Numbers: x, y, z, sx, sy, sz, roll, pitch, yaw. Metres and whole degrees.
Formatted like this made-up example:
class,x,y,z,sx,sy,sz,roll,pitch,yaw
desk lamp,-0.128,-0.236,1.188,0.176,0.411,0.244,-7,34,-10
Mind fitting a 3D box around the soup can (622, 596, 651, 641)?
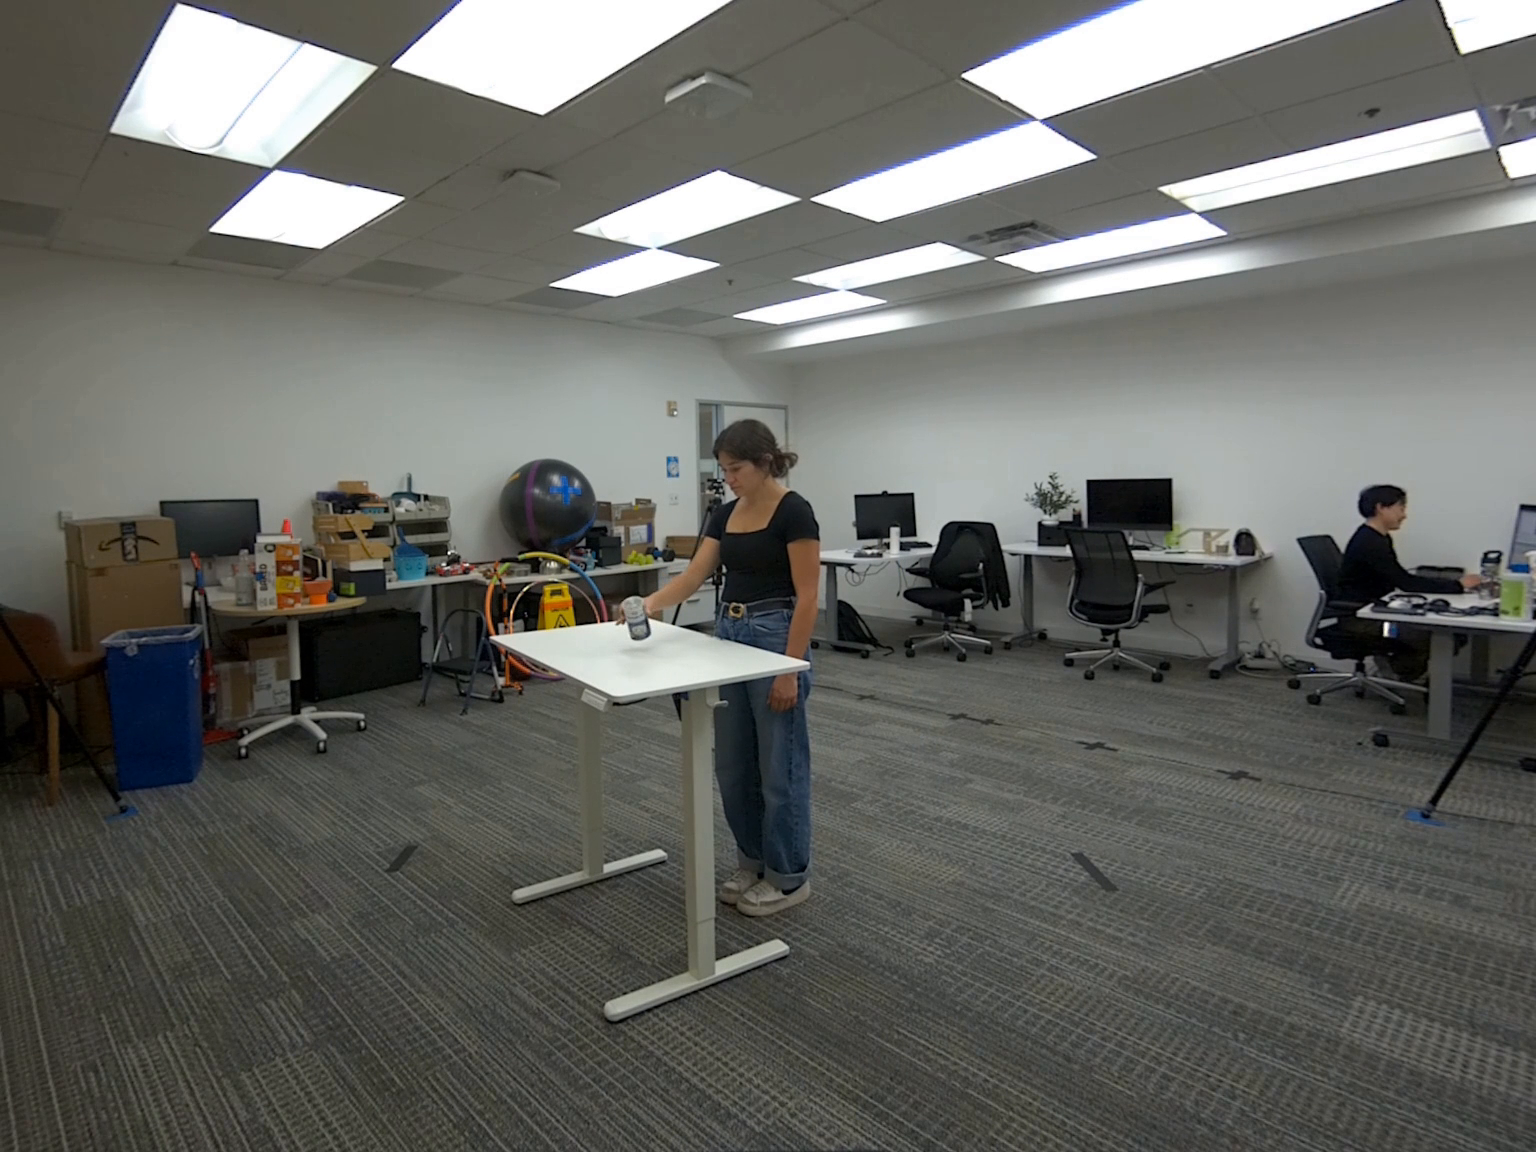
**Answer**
class,x,y,z,sx,sy,sz,roll,pitch,yaw
soup can,-0.392,0.131,2.561,0.067,0.118,0.069,-8,30,3
